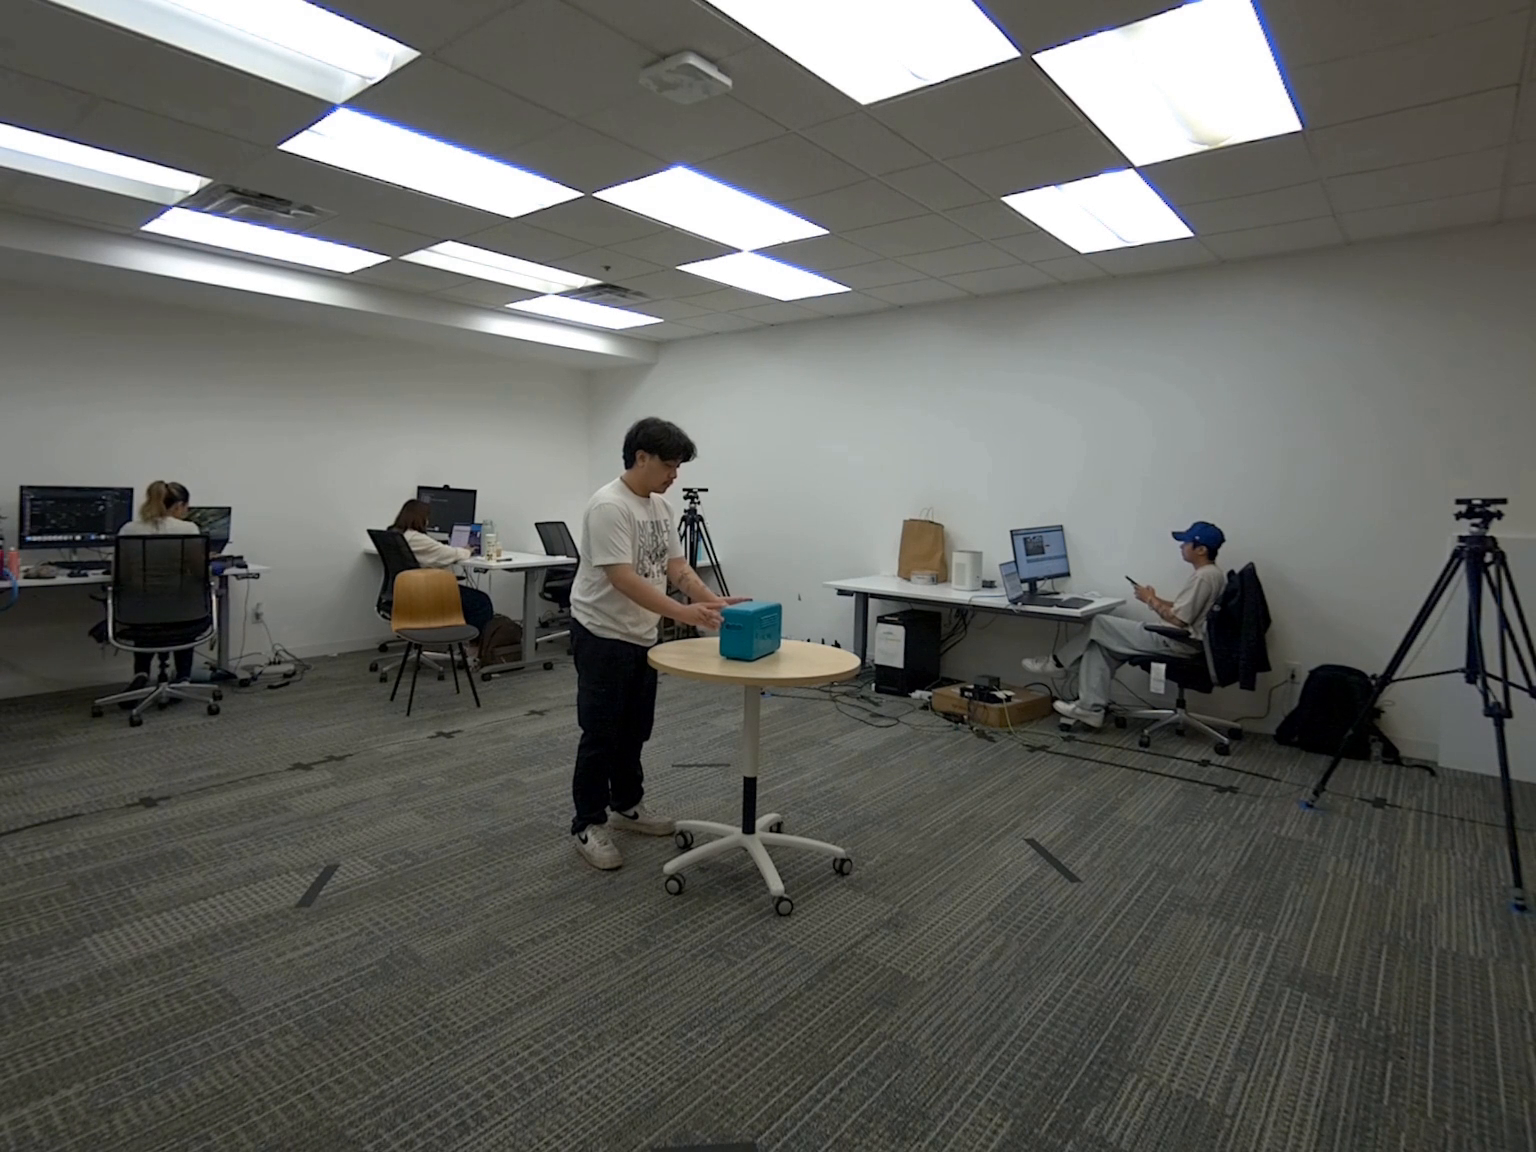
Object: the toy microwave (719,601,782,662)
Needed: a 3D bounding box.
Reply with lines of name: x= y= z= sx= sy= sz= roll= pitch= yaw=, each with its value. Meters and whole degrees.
toy microwave: x=-0.073 y=0.191 z=3.078 sx=0.156 sy=0.183 sz=0.280 roll=4 pitch=5 yaw=23
